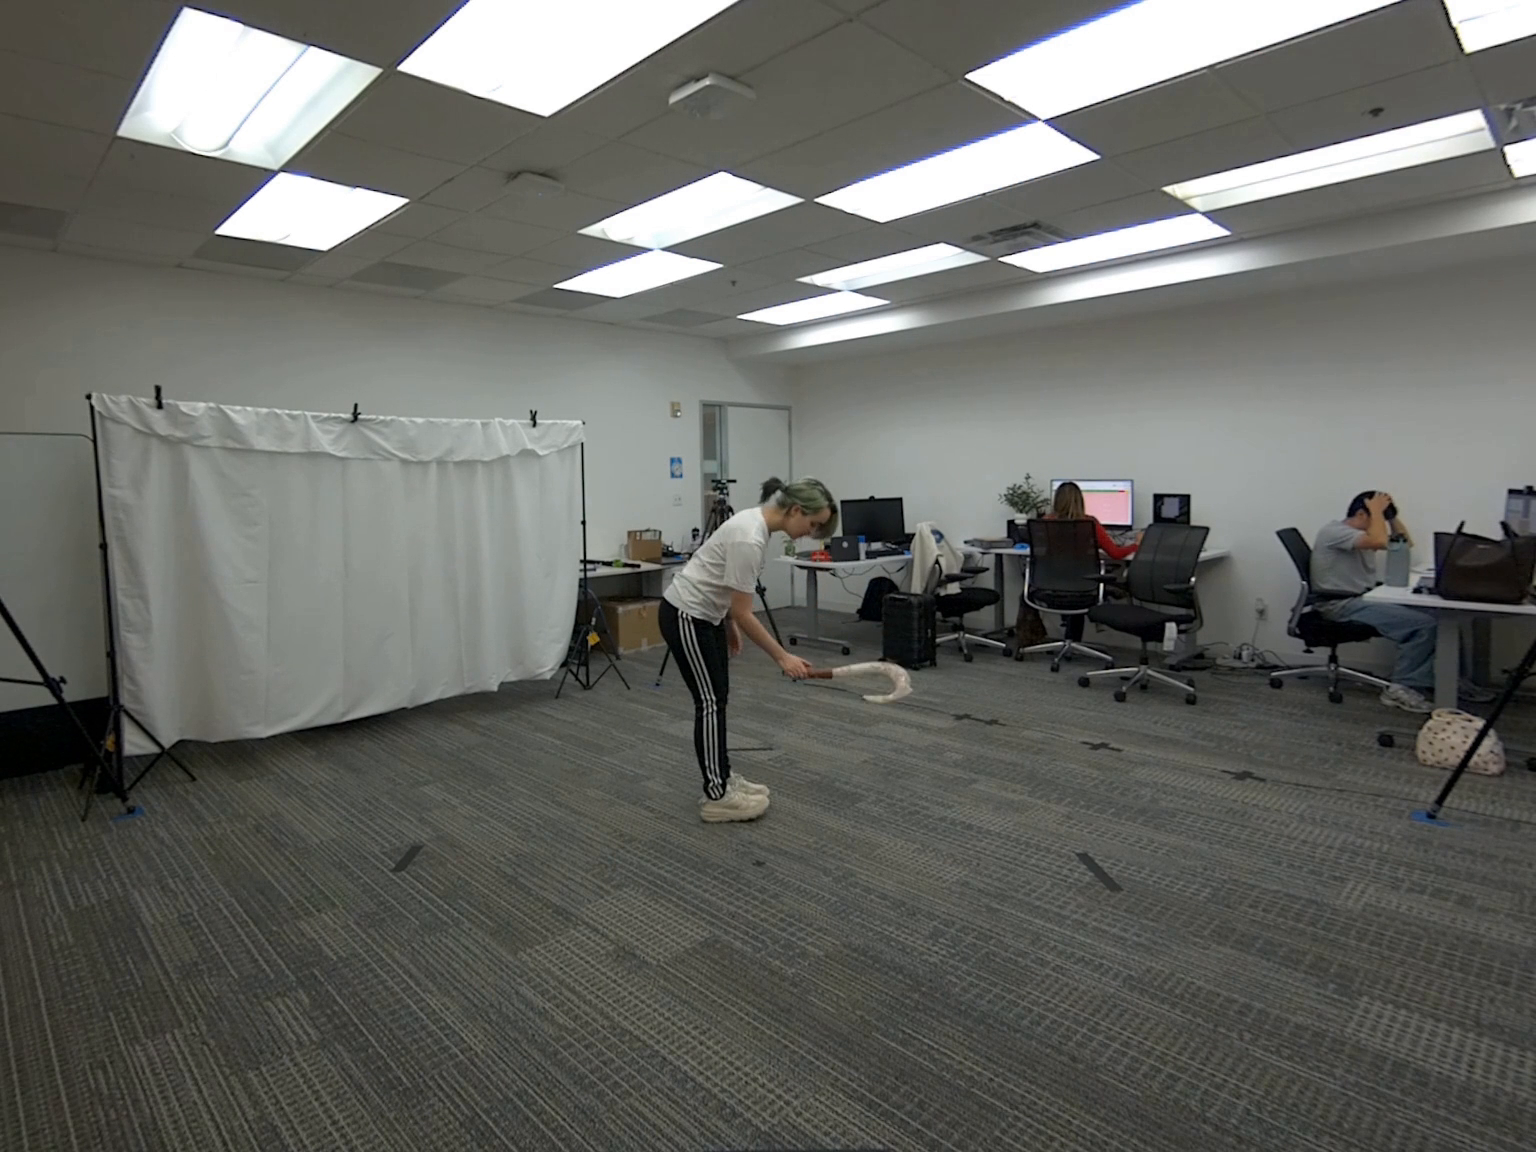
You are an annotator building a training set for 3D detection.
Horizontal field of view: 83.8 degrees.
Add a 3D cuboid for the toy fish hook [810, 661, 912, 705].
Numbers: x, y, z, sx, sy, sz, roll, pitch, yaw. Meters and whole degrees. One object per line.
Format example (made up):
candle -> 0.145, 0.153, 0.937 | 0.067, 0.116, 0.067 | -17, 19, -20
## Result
toy fish hook -> 0.300, 0.419, 3.380 | 0.507, 0.047, 0.230 | -1, 32, 2
